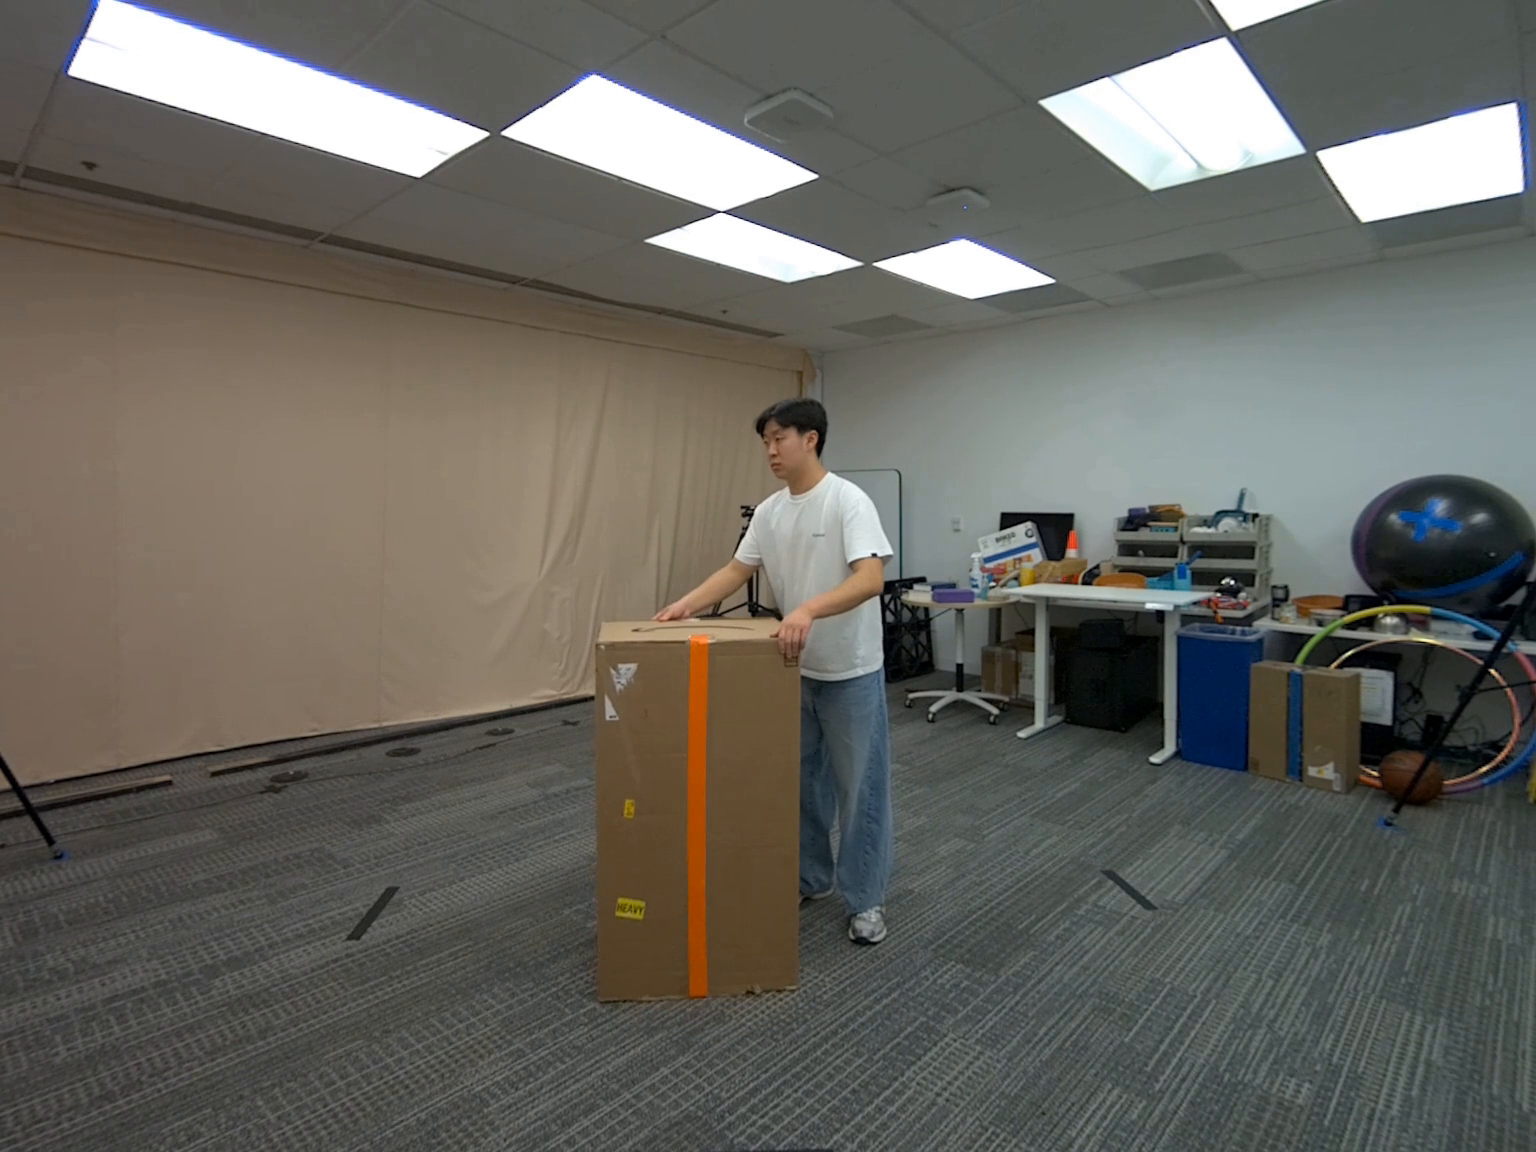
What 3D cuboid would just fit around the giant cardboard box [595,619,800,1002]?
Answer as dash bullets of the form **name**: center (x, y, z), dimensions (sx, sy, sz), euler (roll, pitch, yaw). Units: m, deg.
- **giant cardboard box**: center (-0.232, 0.671, 2.560), dimensions (0.573, 1.024, 0.430), euler (0, 3, -7)
